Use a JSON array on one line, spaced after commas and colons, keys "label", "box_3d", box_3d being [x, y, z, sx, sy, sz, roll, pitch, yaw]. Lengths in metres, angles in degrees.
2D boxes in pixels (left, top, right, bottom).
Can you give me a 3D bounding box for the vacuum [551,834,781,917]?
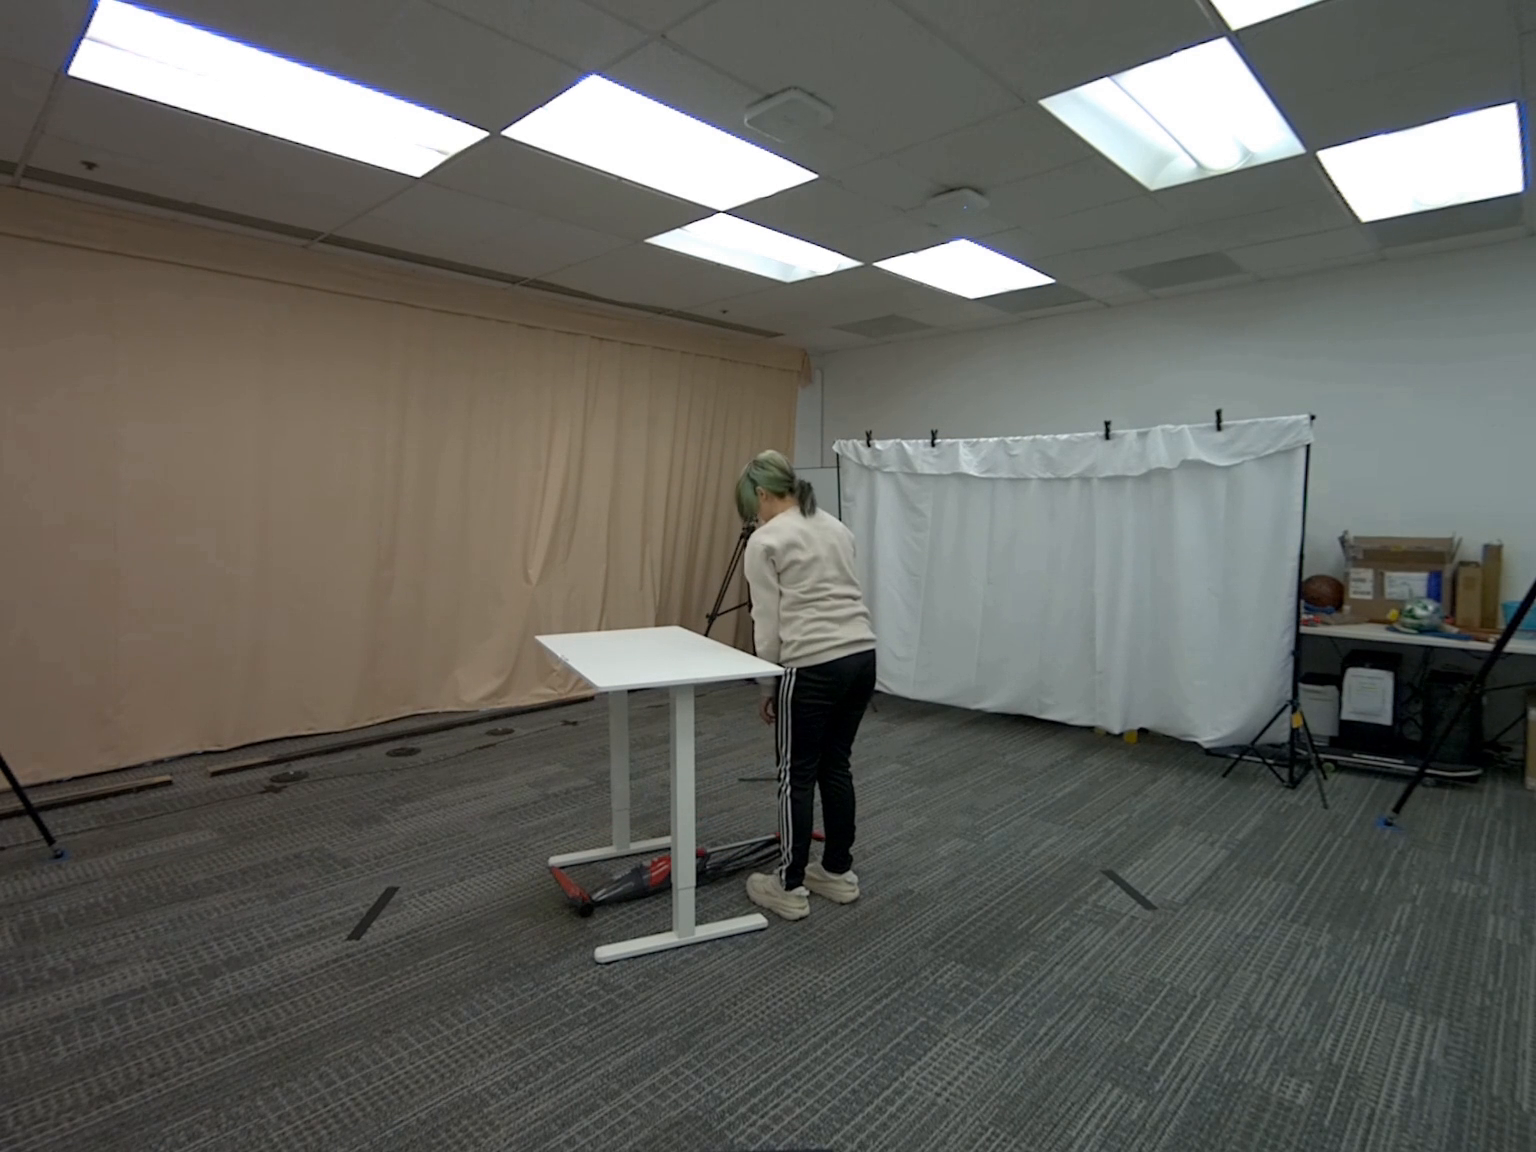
[{"label": "vacuum", "box_3d": [-0.231, 1.073, 3.134, 1.023, 0.144, 0.259, -1, 3, -27]}]
